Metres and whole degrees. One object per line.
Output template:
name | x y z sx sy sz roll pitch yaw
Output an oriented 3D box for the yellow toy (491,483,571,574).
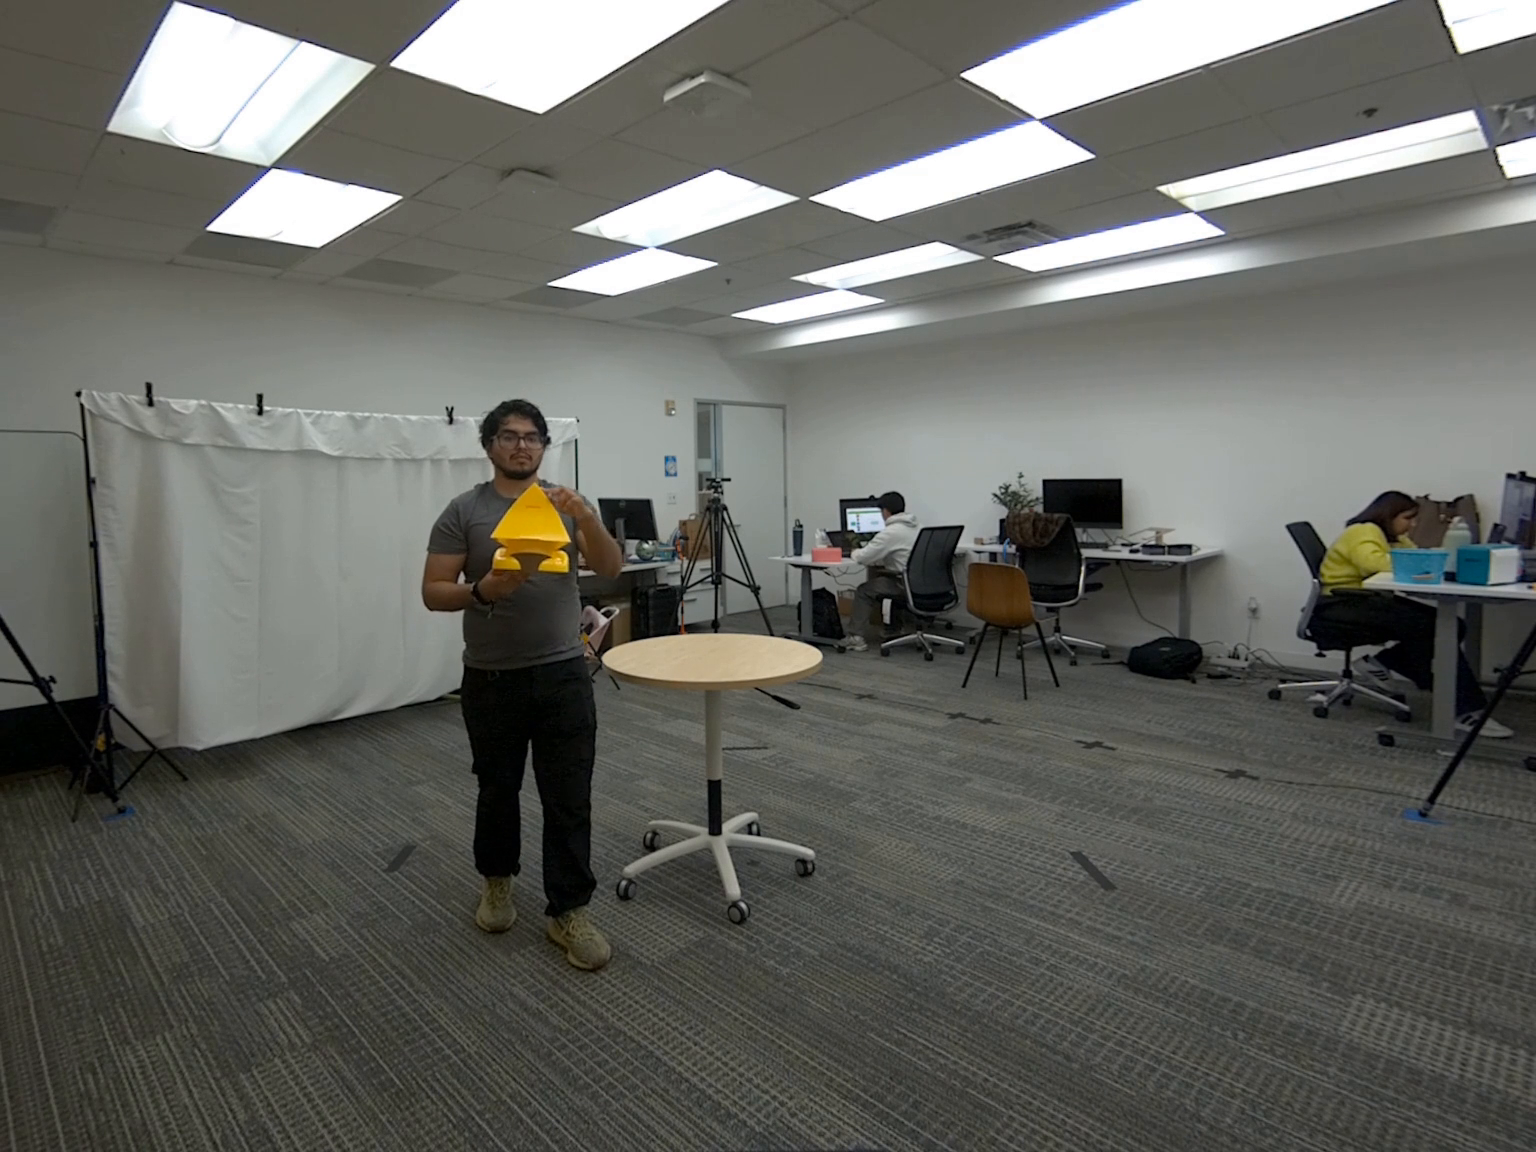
yellow toy | -0.639 -0.125 2.307 0.203 0.231 0.195 -1 -2 -11
